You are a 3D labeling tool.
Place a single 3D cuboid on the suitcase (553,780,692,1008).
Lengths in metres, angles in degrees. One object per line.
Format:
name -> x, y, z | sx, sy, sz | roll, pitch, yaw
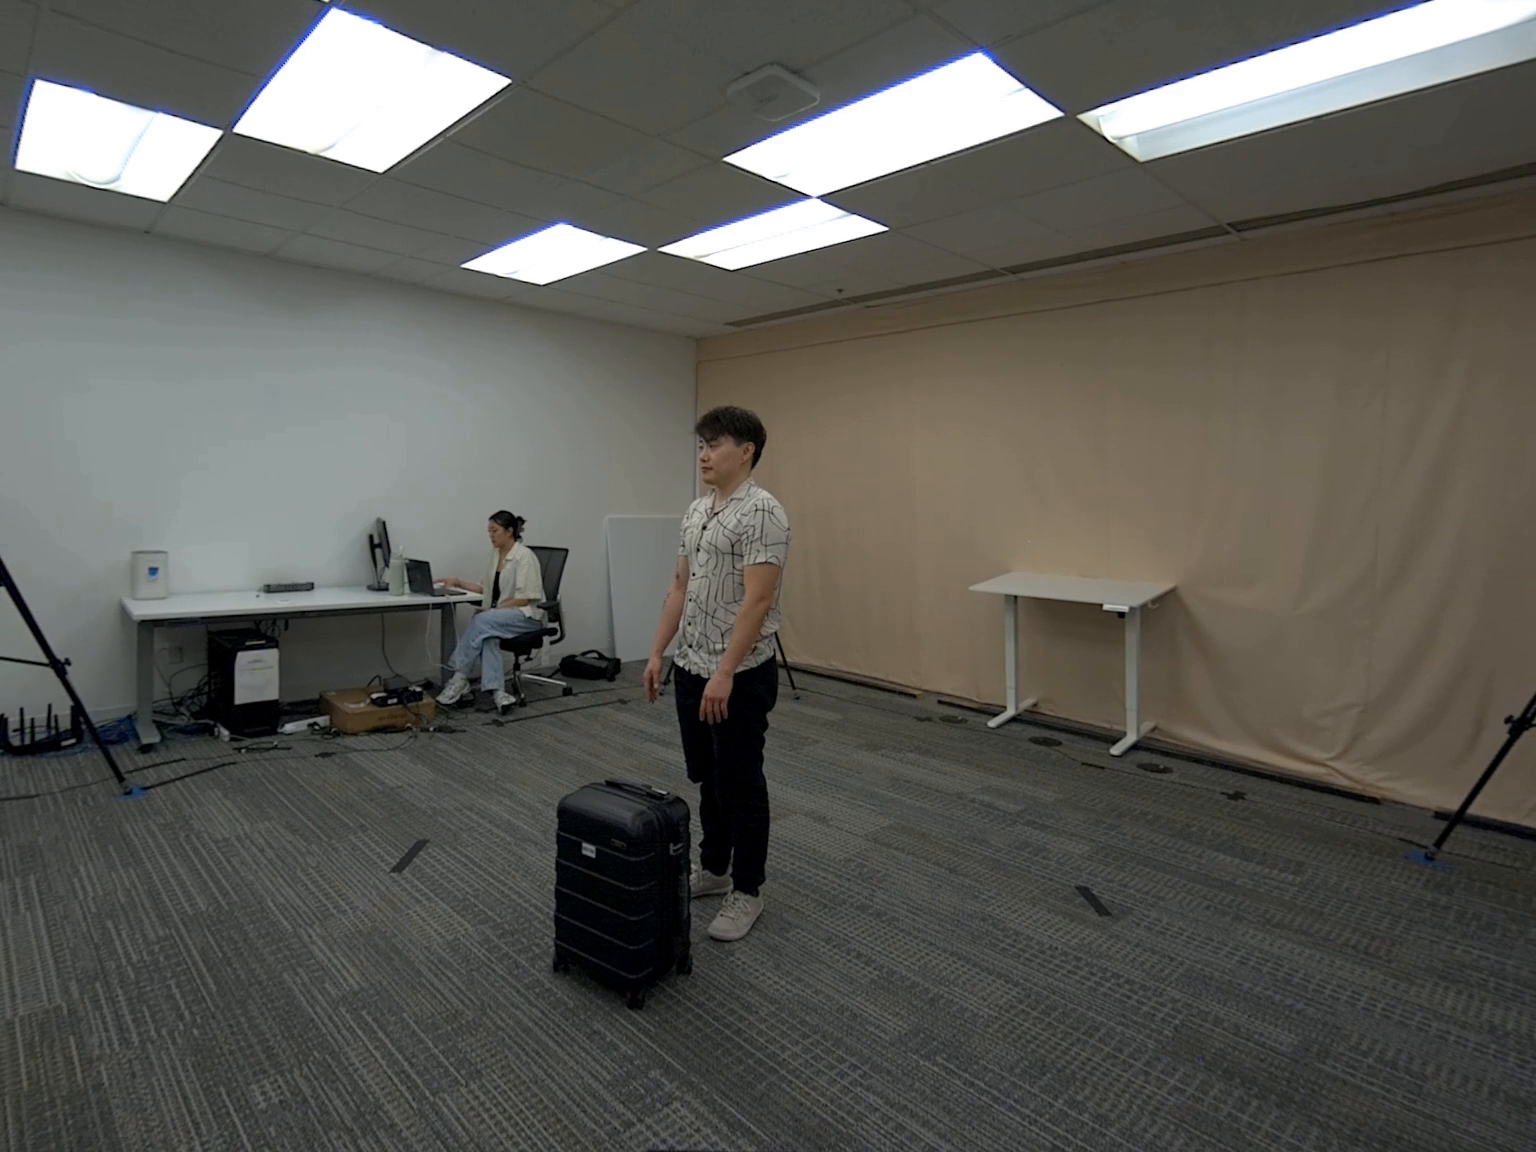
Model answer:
suitcase -> -0.427, 0.888, 2.420 | 0.384, 0.547, 0.243 | 5, 6, 36
